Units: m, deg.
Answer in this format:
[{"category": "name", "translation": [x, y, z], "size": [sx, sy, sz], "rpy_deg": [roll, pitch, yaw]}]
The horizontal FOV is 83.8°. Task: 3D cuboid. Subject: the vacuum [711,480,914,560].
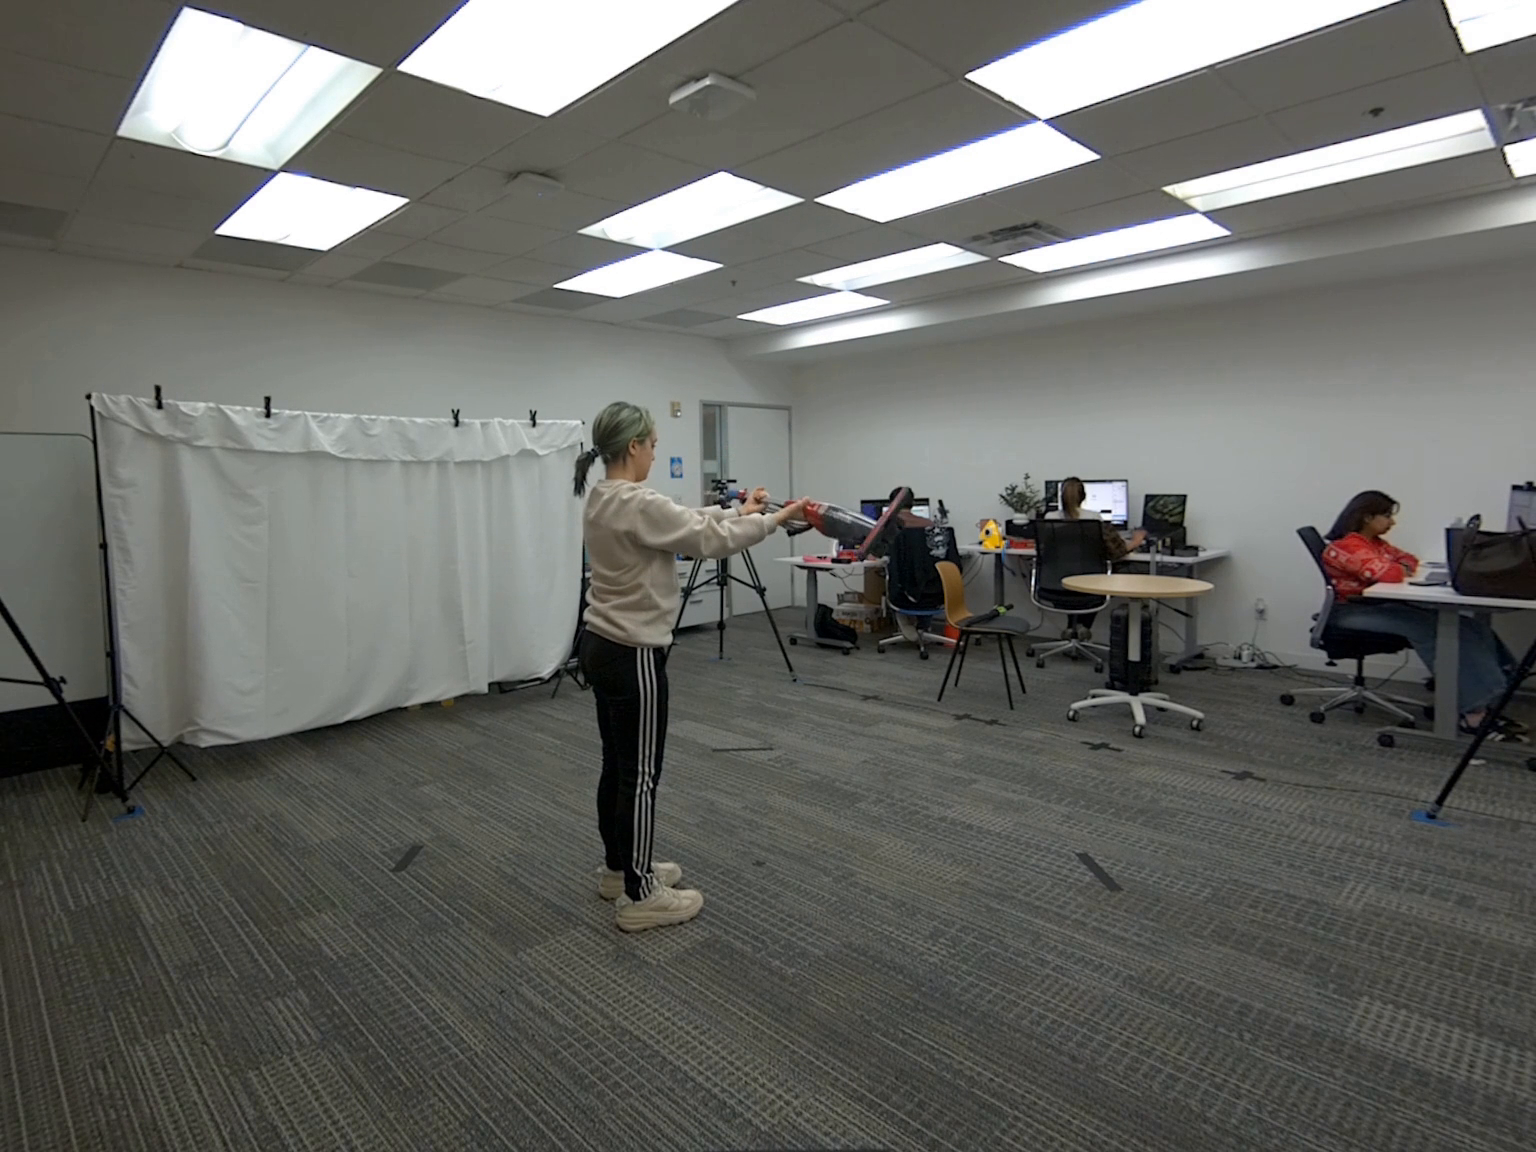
[{"category": "vacuum", "translation": [0.103, -0.220, 2.924], "size": [0.139, 0.253, 1.082], "rpy_deg": [41, -10, -29]}]
